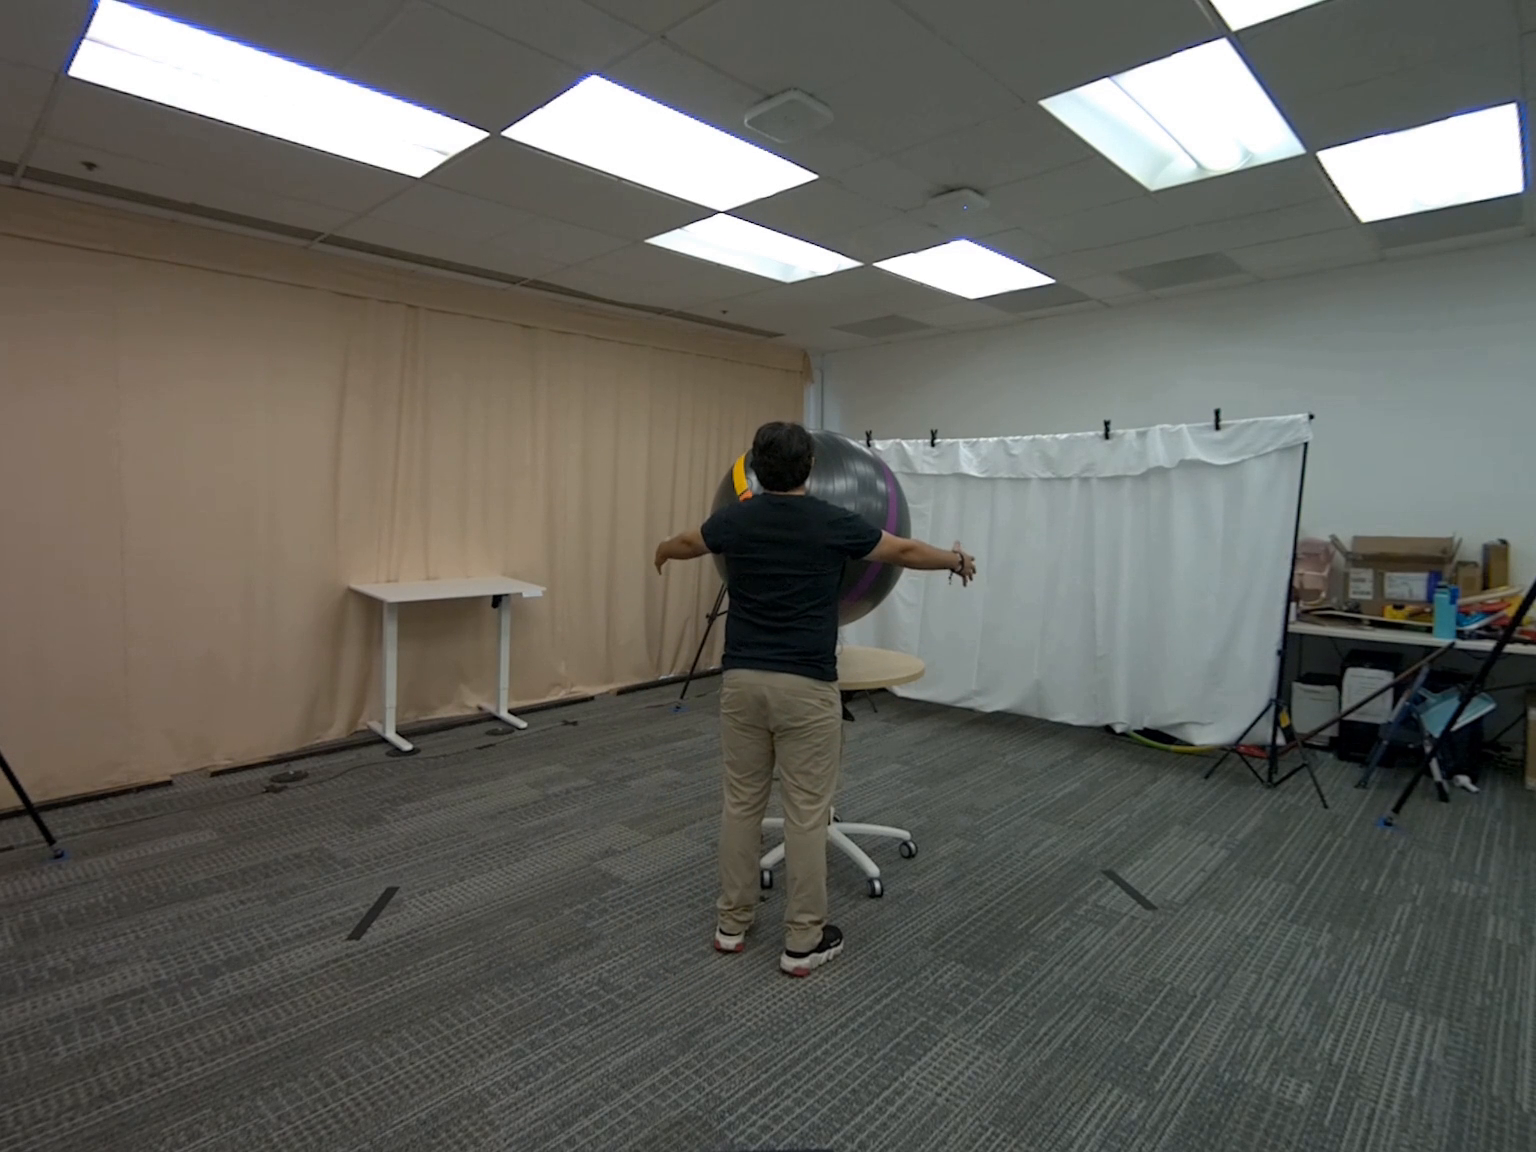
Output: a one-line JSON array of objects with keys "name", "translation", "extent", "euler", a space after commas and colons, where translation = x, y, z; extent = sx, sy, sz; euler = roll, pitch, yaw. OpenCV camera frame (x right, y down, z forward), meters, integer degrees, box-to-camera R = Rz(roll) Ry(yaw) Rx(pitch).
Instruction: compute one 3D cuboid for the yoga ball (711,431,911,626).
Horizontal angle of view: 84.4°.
[{"name": "yoga ball", "translation": [0.158, -0.168, 3.181], "extent": [0.757, 0.756, 0.760], "euler": [0, 4, -2]}]
